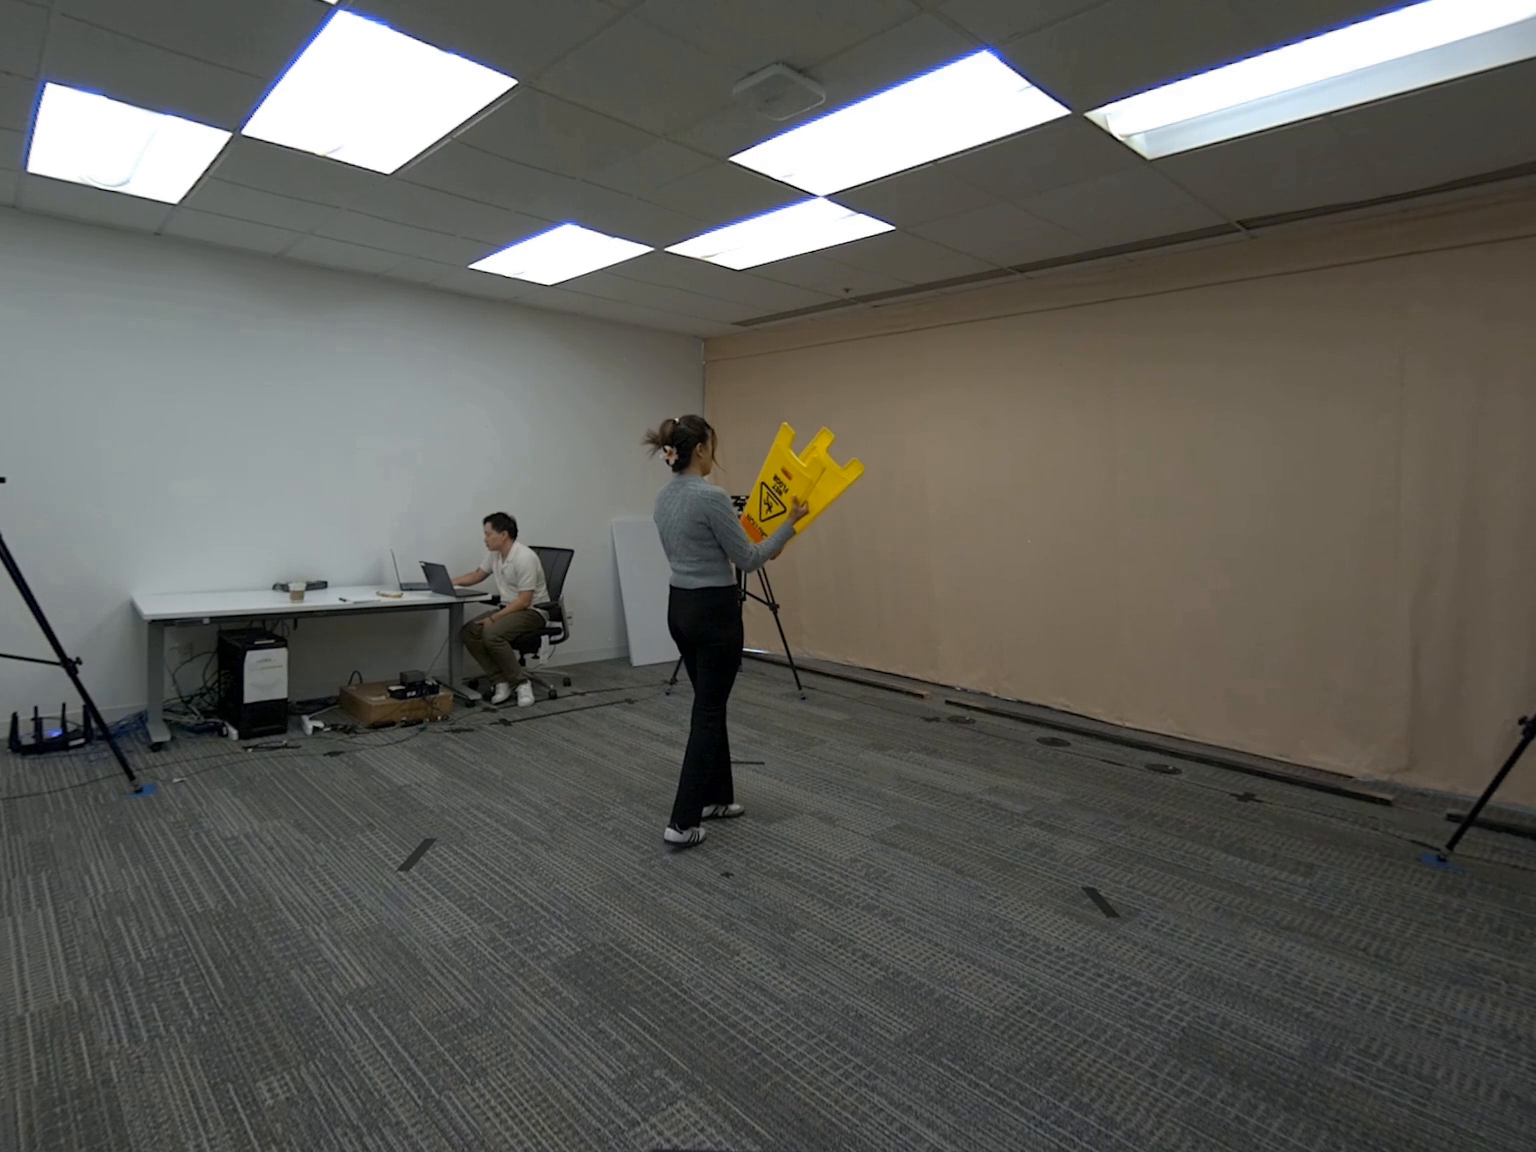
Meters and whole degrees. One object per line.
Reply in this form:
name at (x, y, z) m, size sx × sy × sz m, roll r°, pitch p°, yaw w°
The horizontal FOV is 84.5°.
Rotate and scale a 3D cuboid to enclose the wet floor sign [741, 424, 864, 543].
wet floor sign at (0.056, -0.310, 3.625) m, size 0.283 × 0.644 × 0.289 m, roll -5°, pitch 49°, yaw -50°
